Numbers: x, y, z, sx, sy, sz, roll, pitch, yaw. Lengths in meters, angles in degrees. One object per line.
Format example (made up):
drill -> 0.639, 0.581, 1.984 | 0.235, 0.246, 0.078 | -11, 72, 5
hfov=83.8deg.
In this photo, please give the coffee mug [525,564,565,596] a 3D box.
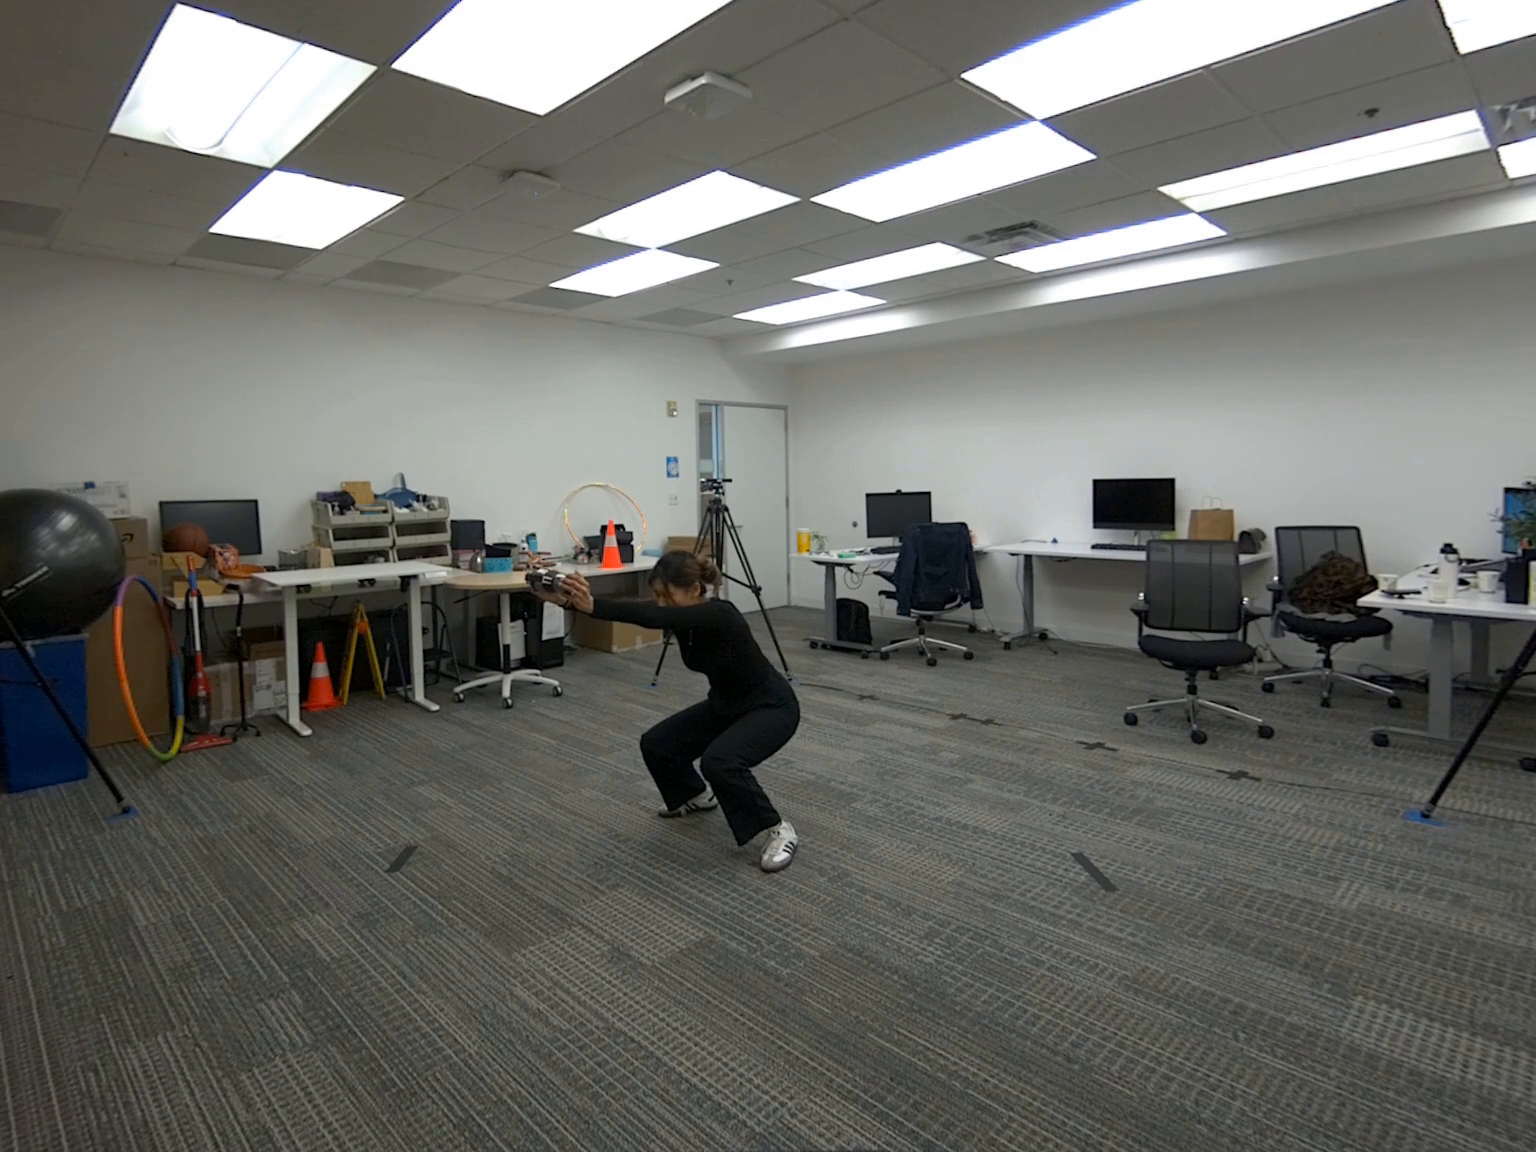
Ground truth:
coffee mug -> -0.710, 0.028, 2.822 | 0.119, 0.087, 0.209 | -13, 13, -36
